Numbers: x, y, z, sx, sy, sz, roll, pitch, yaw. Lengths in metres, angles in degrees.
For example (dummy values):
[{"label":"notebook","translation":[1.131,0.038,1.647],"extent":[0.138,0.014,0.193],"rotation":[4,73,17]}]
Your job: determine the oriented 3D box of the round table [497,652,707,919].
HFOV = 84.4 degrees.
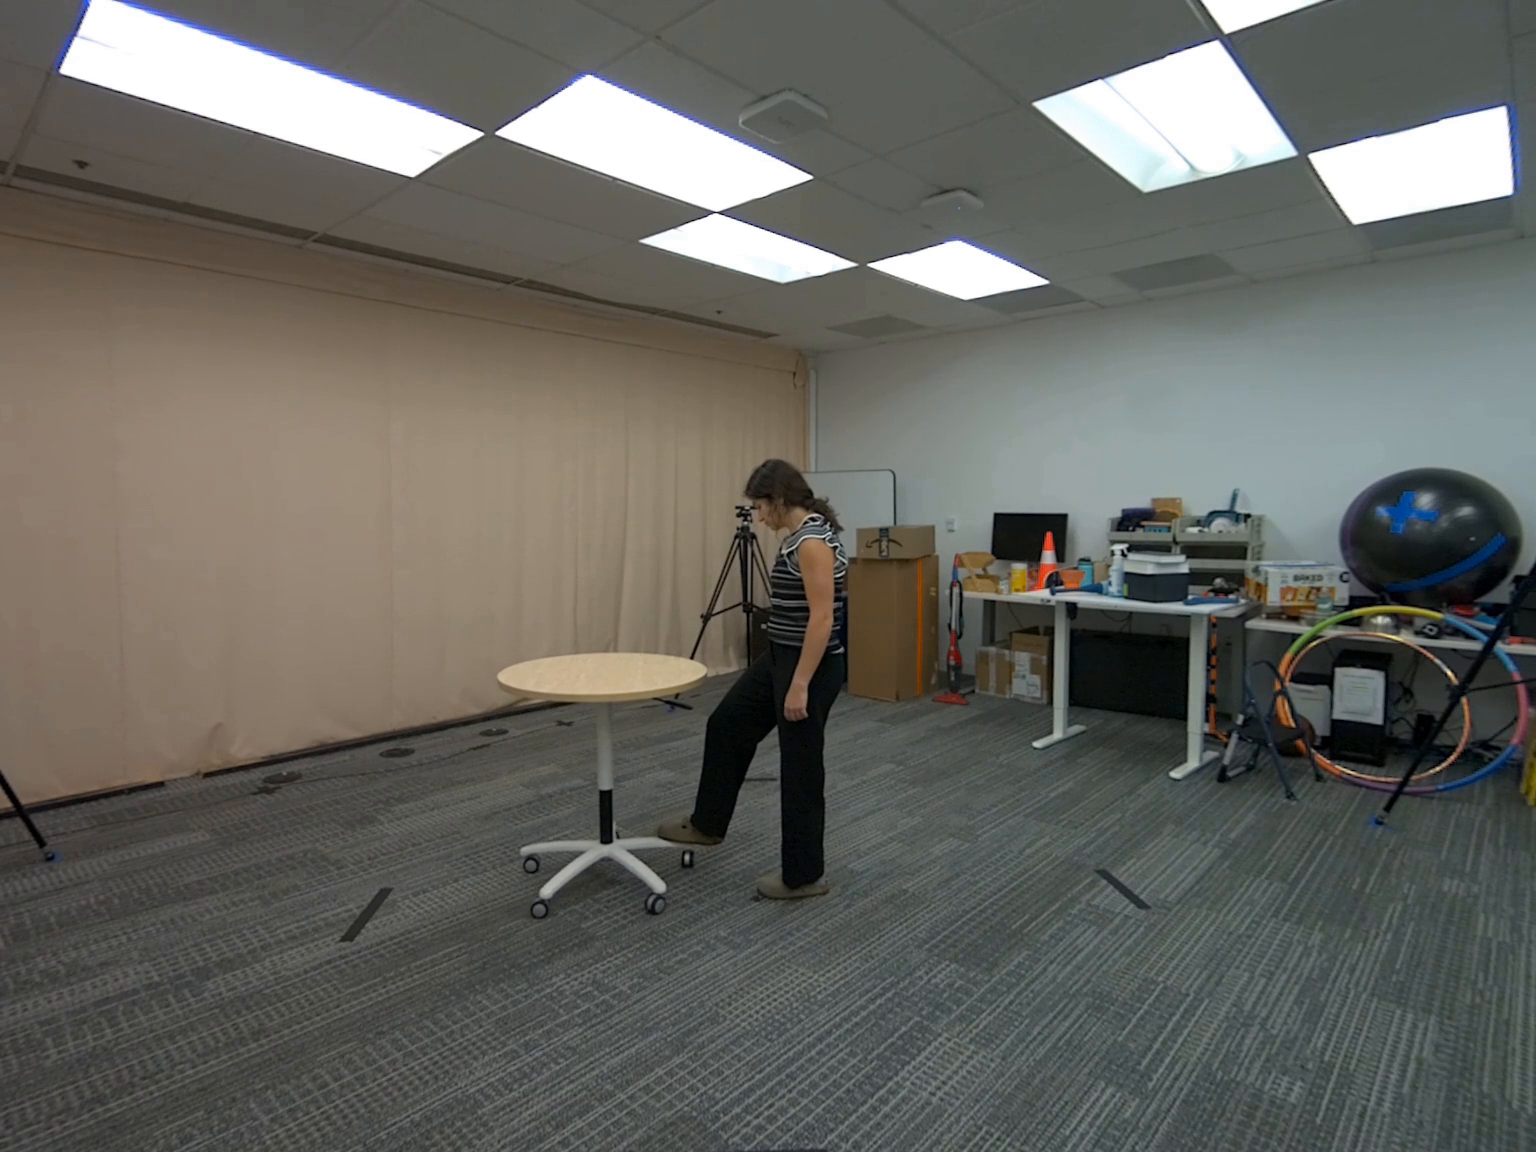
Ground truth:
[{"label":"round table","translation":[-0.615,0.746,3.141],"extent":[0.784,0.785,0.788],"rotation":[0,3,-2]}]
